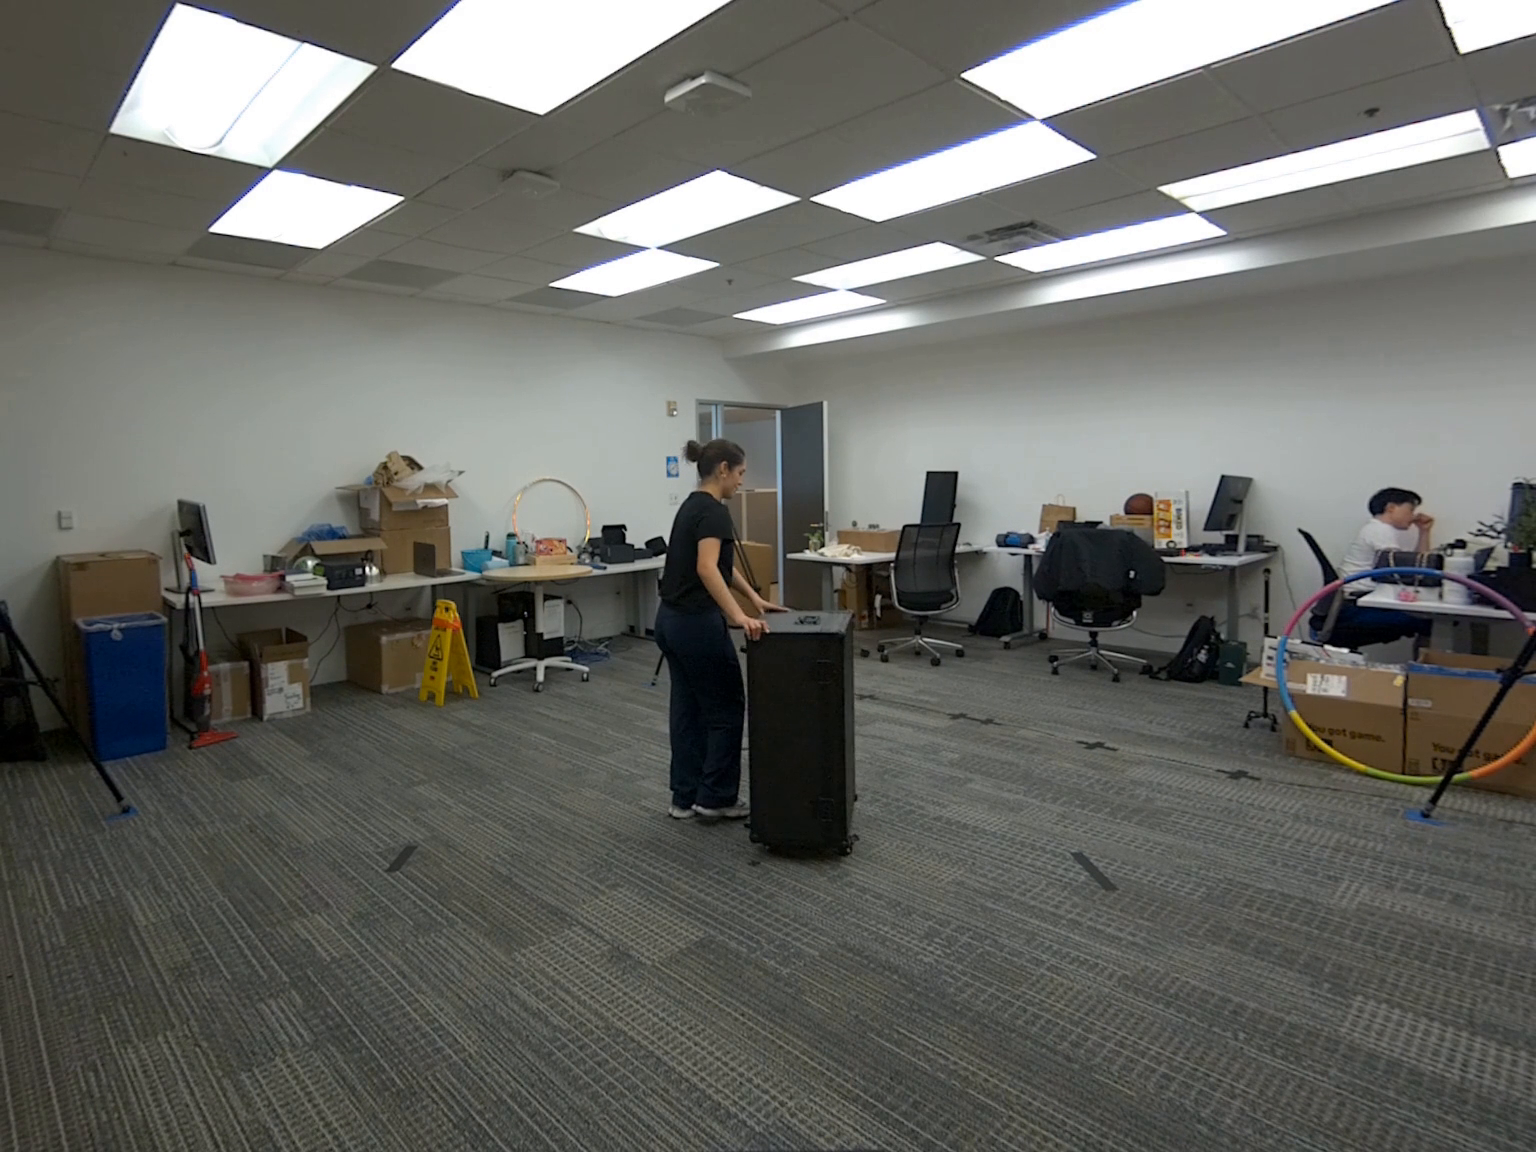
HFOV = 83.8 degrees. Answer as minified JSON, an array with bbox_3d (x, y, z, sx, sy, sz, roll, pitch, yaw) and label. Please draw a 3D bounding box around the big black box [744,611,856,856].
[{"bbox_3d":[0.130,0.593,3.299,0.401,0.858,0.517,-1,4,11],"label":"big black box"}]
